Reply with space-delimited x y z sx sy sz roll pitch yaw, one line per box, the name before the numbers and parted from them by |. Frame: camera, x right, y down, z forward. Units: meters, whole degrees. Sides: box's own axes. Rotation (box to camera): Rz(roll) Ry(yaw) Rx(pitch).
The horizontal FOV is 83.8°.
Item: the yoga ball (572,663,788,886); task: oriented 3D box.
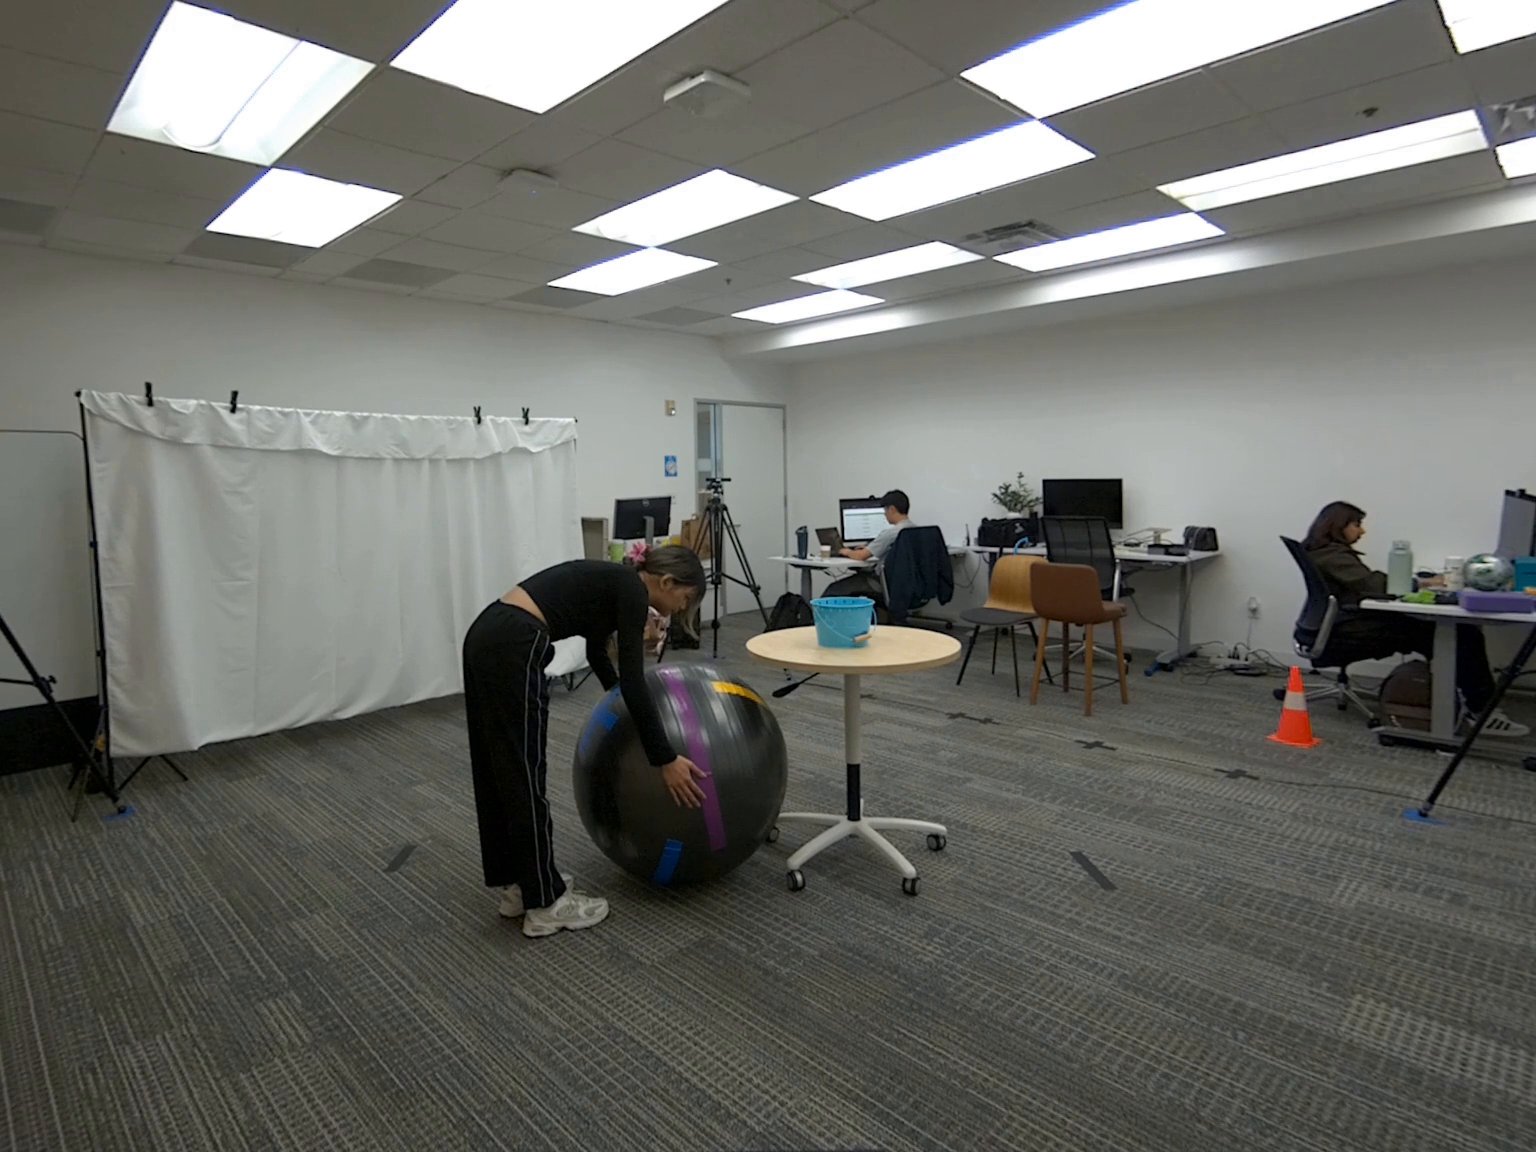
yoga ball | -0.310 0.691 3.014 0.757 0.755 0.762 -1 5 -2
